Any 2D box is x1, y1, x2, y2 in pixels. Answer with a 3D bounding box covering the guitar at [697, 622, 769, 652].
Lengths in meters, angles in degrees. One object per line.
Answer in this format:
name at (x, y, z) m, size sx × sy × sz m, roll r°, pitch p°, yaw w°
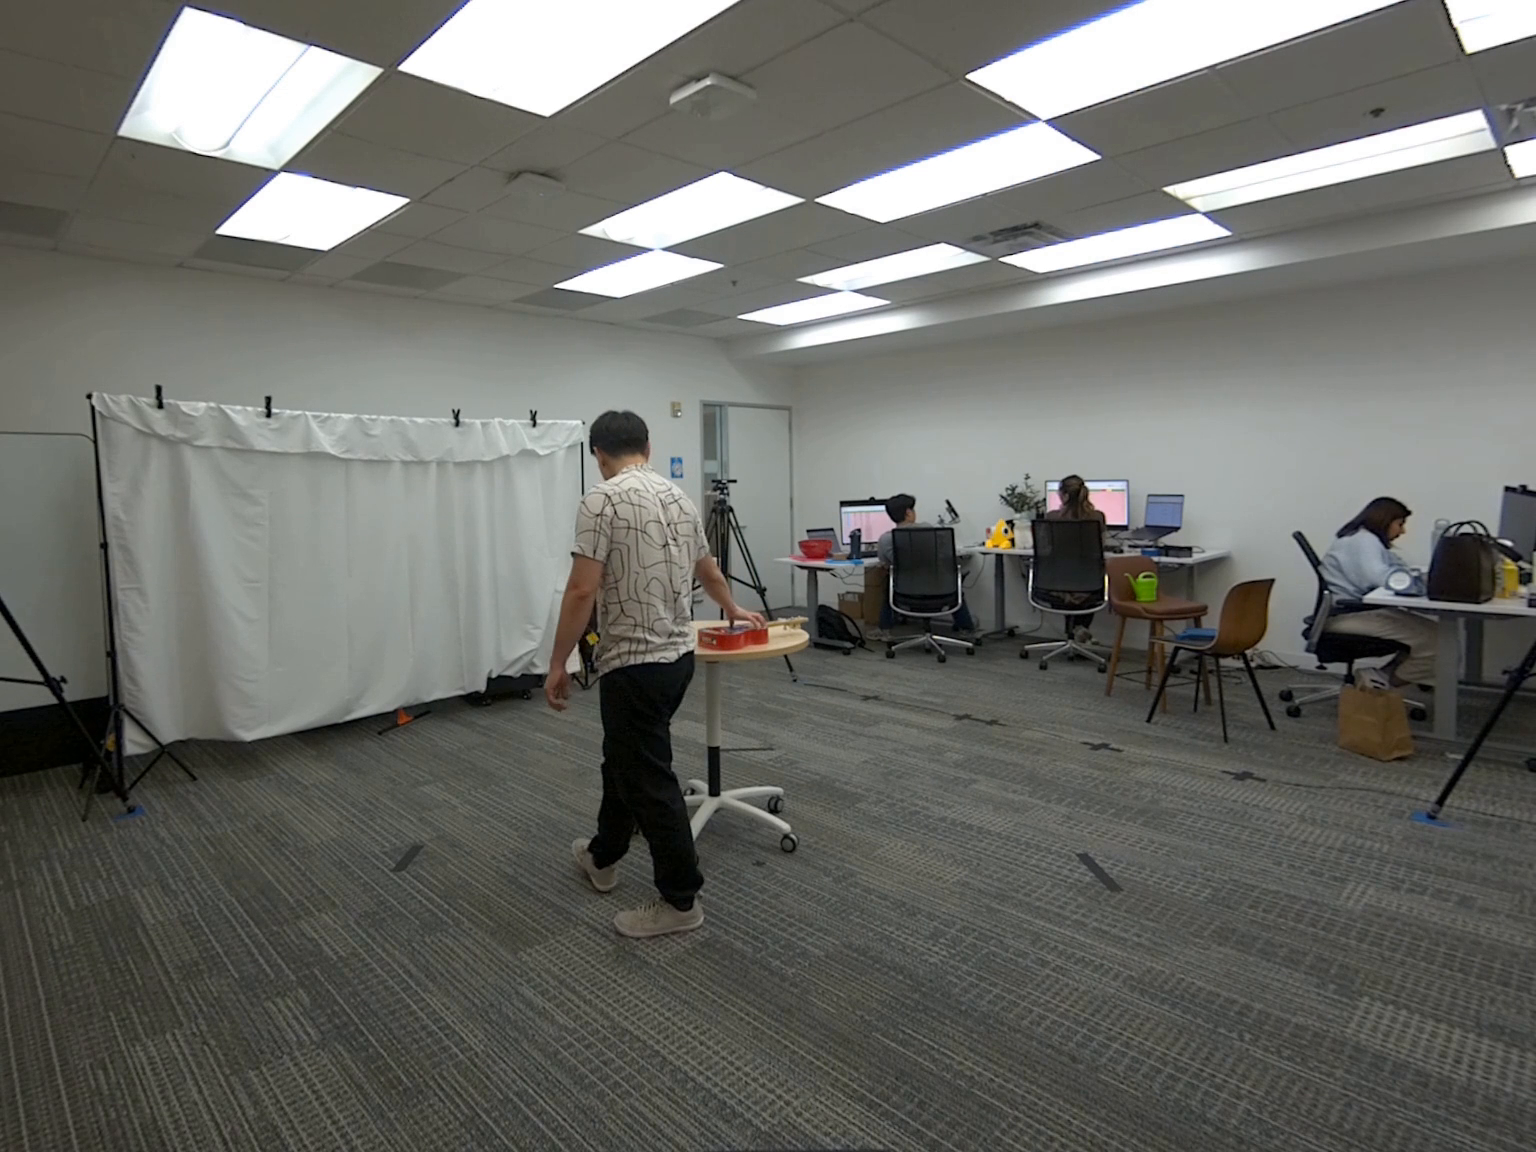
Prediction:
guitar at (-0.025, 0.219, 3.229) m, size 0.486 × 0.070 × 0.198 m, roll -4°, pitch 6°, yaw -28°
